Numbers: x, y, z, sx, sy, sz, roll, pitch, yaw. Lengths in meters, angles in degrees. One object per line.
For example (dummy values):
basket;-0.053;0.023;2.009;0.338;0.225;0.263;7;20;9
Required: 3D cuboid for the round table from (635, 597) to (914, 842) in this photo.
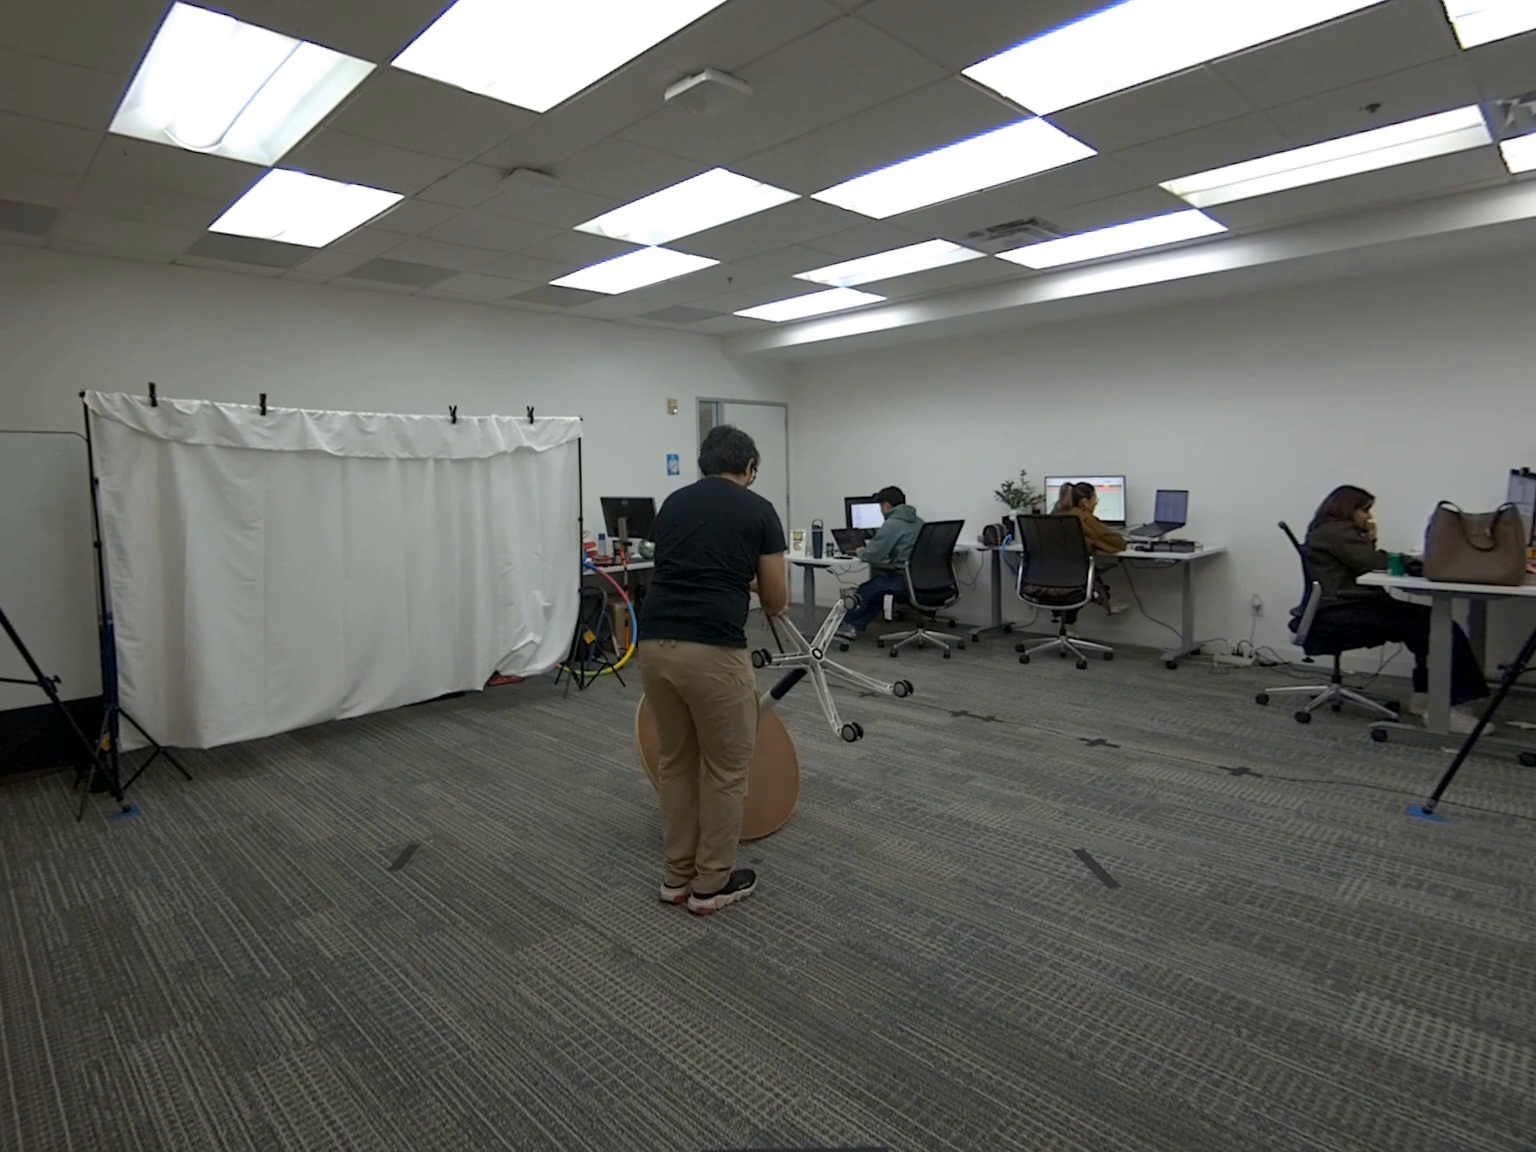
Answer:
round table;0.018;0.467;3.274;0.764;0.807;0.785;-6;-33;-46
